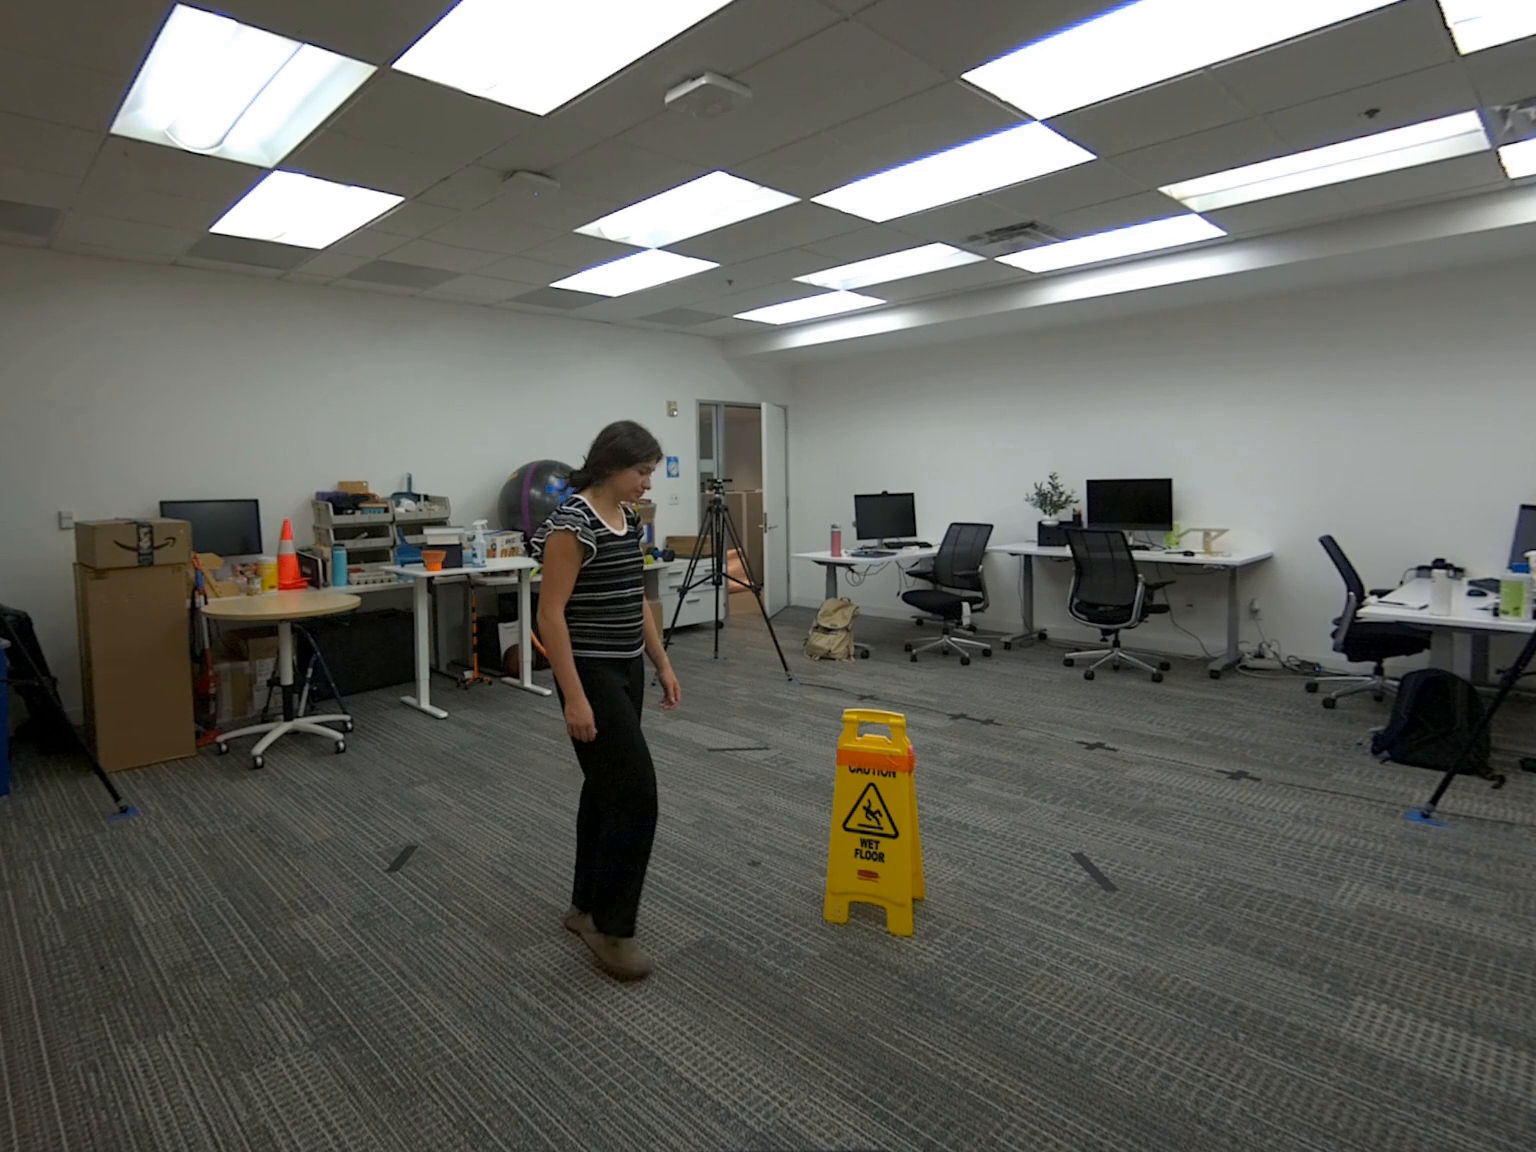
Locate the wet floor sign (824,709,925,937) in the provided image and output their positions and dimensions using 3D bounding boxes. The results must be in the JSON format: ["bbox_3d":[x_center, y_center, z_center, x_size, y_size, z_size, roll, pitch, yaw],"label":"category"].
[{"bbox_3d":[0.344,0.756,2.733,0.288,0.643,0.285,-1,5,21],"label":"wet floor sign"}]
